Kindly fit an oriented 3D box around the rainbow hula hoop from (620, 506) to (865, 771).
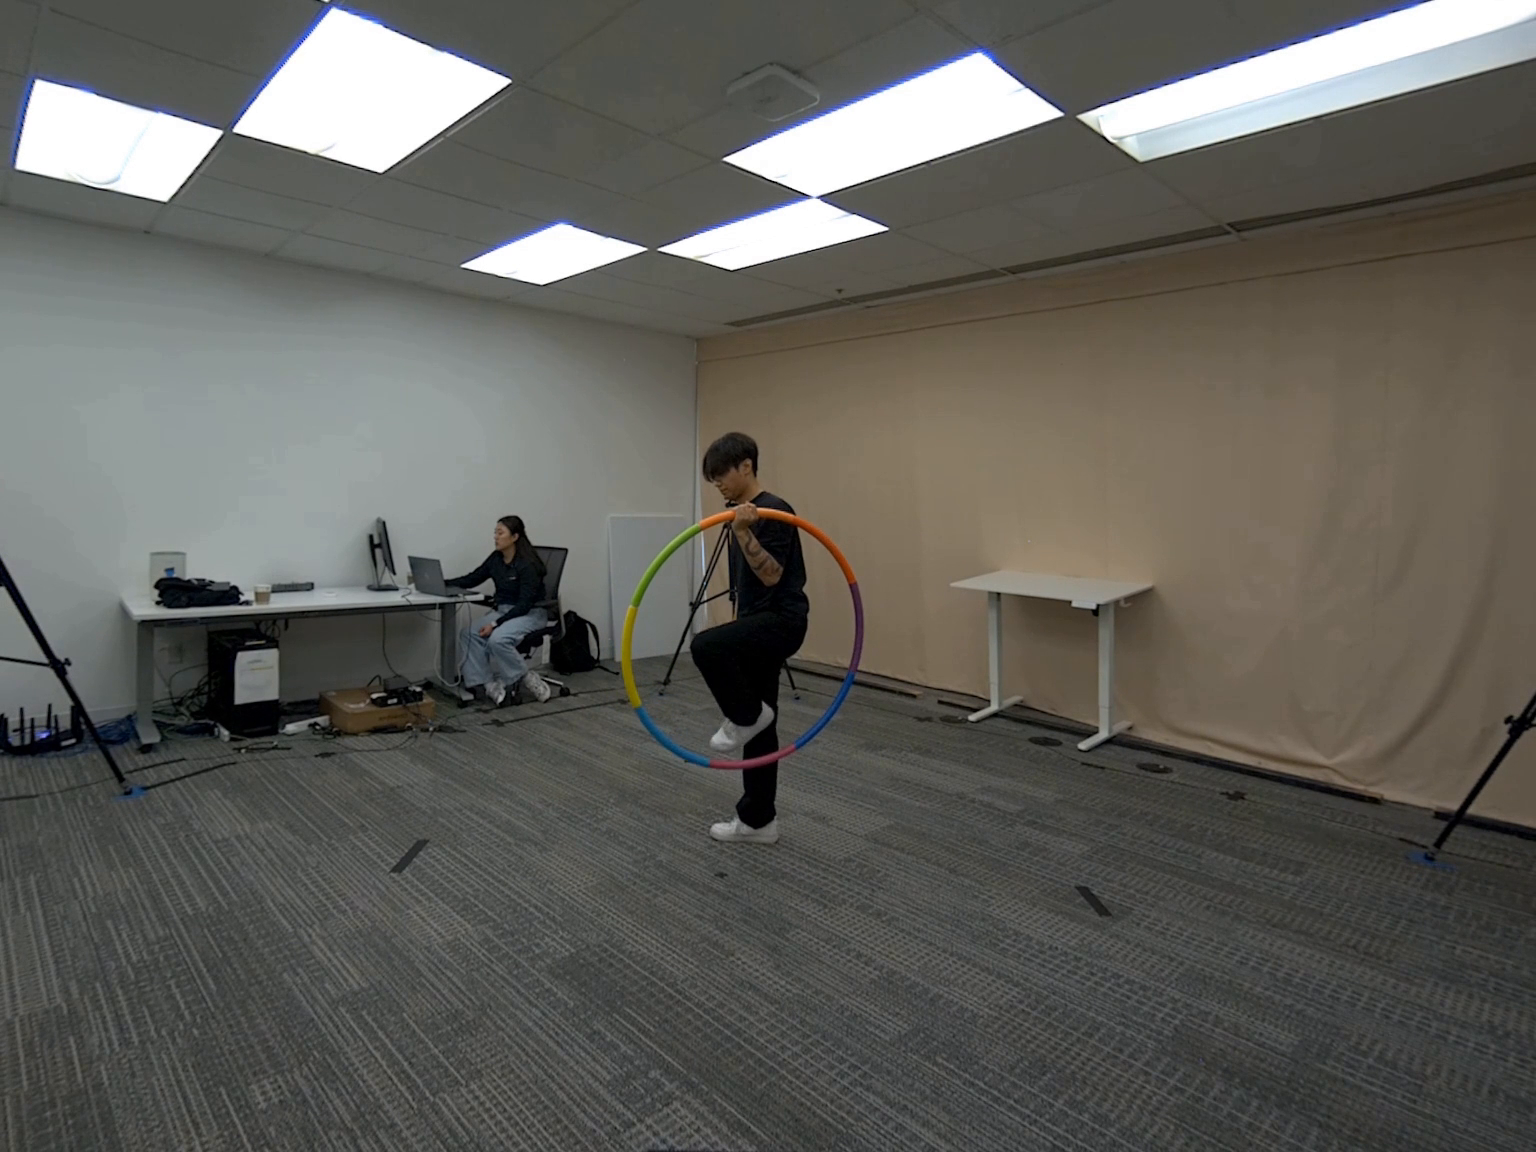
[{"bbox_3d":[-0.077,0.235,3.141,0.963,0.973,0.036,0,8,-21],"label":"rainbow hula hoop"}]
